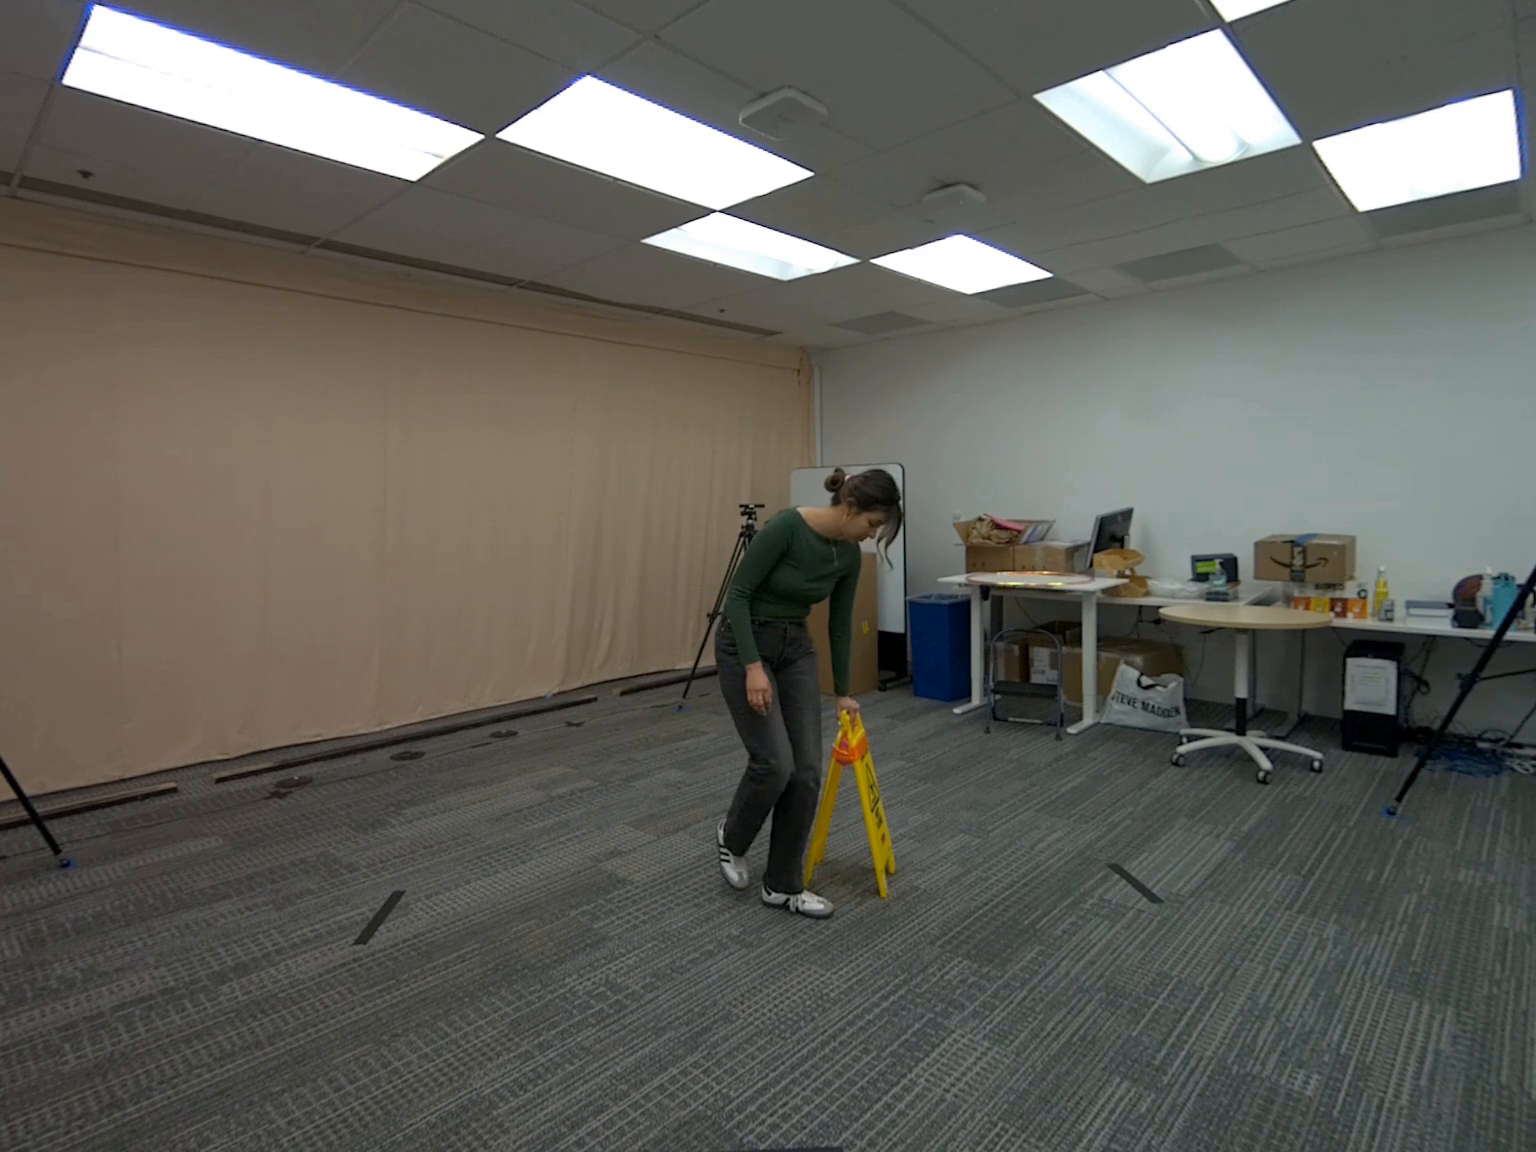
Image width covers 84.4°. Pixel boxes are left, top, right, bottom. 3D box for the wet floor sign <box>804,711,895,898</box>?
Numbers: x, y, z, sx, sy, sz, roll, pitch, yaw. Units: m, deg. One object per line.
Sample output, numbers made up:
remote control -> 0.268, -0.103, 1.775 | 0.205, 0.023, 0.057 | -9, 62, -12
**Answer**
wet floor sign -> 0.303, 0.797, 3.119 | 0.295, 0.645, 0.277 | 0, 3, 18
